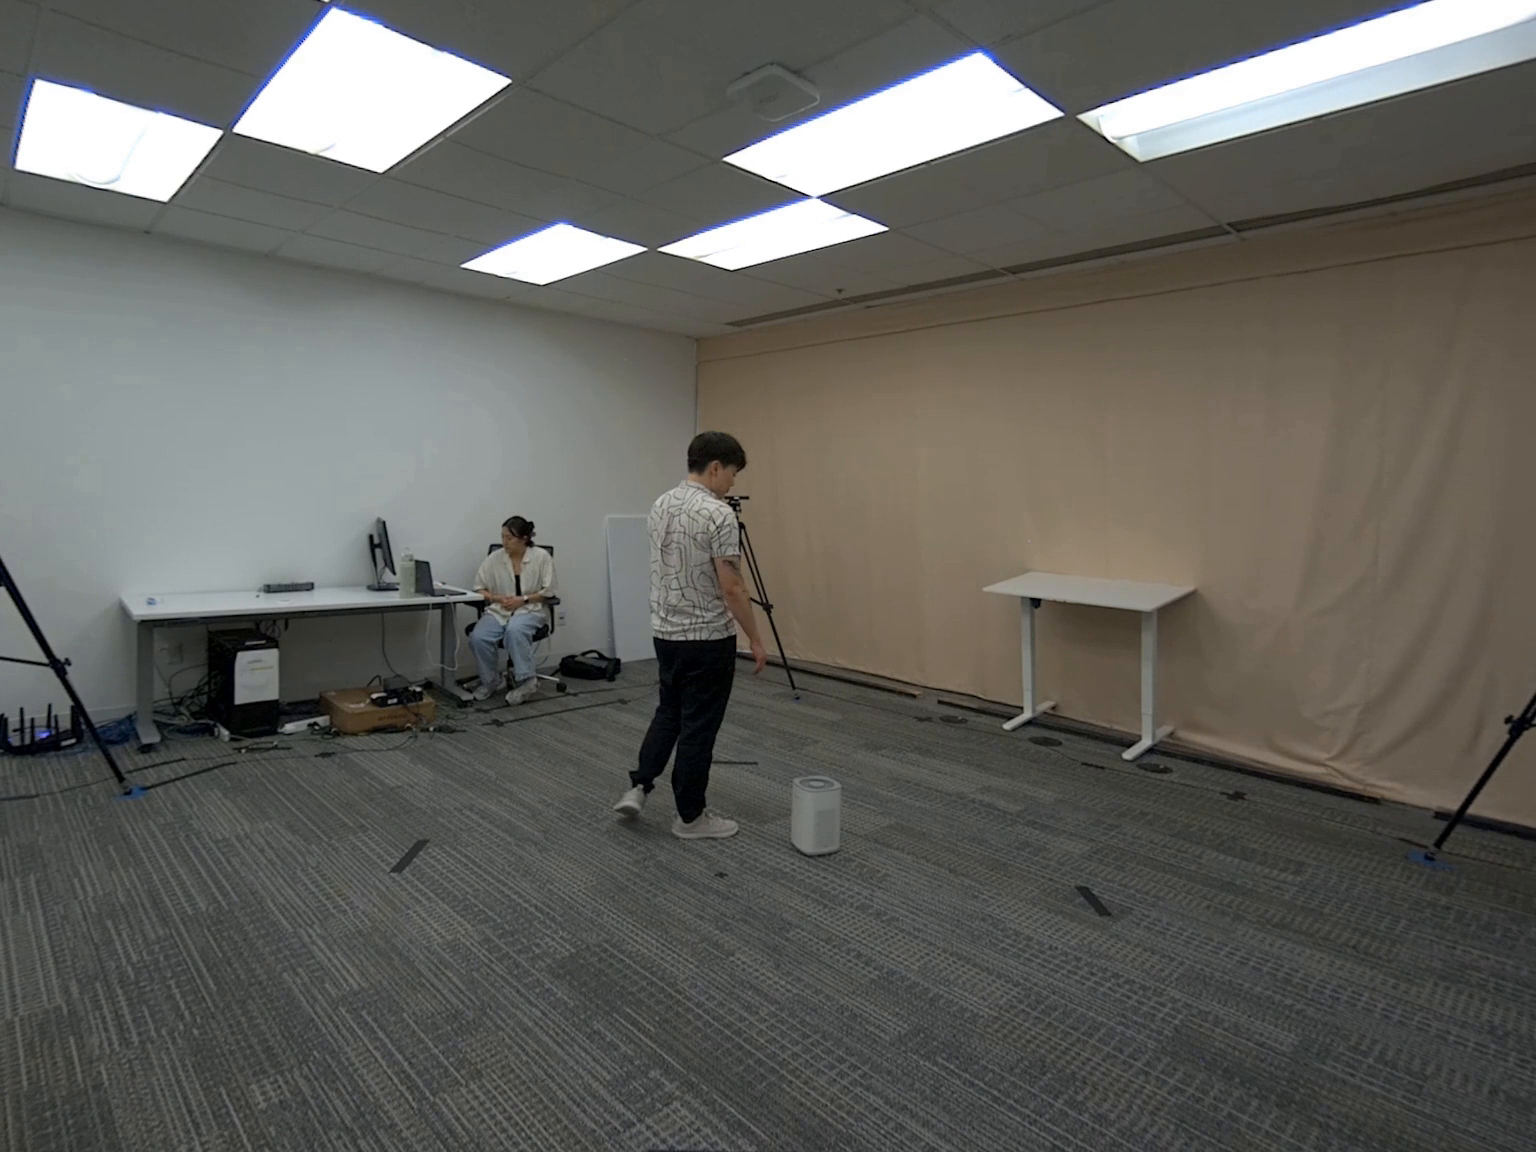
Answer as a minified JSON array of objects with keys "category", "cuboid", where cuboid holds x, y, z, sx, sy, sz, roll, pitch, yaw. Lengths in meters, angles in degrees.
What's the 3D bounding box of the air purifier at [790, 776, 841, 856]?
[{"category":"air purifier","cuboid":[0.188,0.956,3.356,0.168,0.265,0.175,-1,3,-23]}]
